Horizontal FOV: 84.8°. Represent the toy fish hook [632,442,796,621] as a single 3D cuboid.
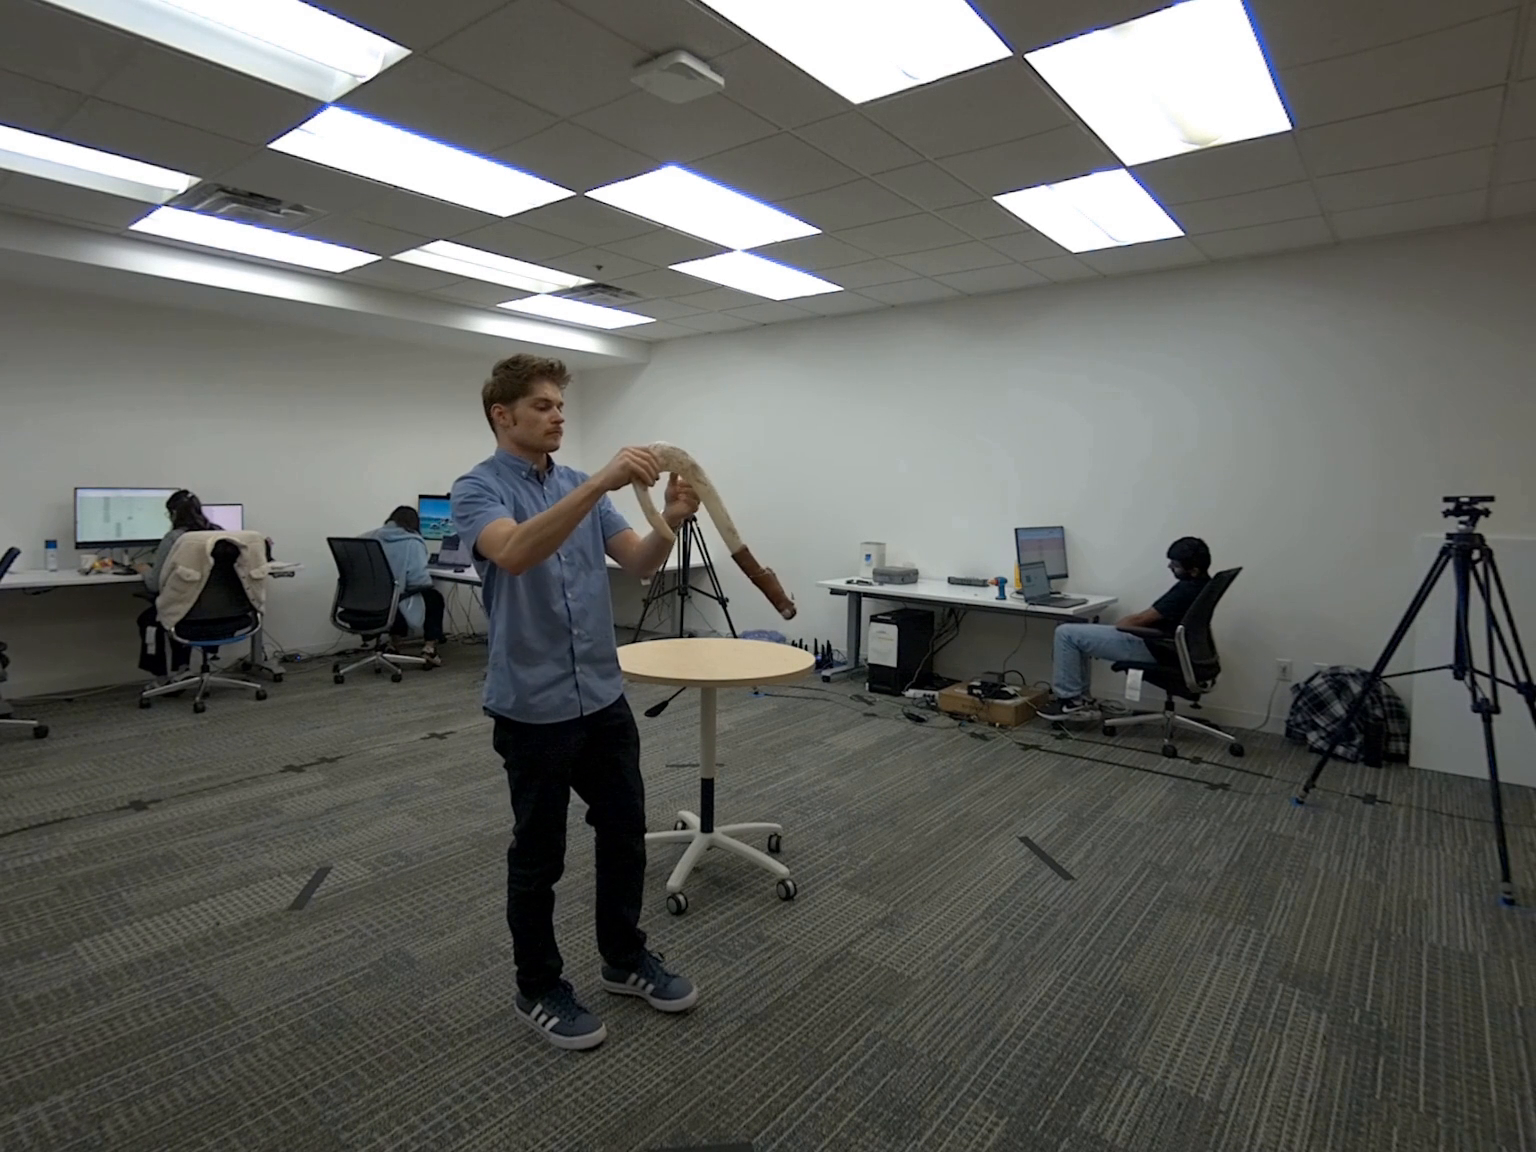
[{"bbox_3d":[-0.126,-0.074,1.887,0.049,0.500,0.224,-28,14,46],"label":"toy fish hook"}]
